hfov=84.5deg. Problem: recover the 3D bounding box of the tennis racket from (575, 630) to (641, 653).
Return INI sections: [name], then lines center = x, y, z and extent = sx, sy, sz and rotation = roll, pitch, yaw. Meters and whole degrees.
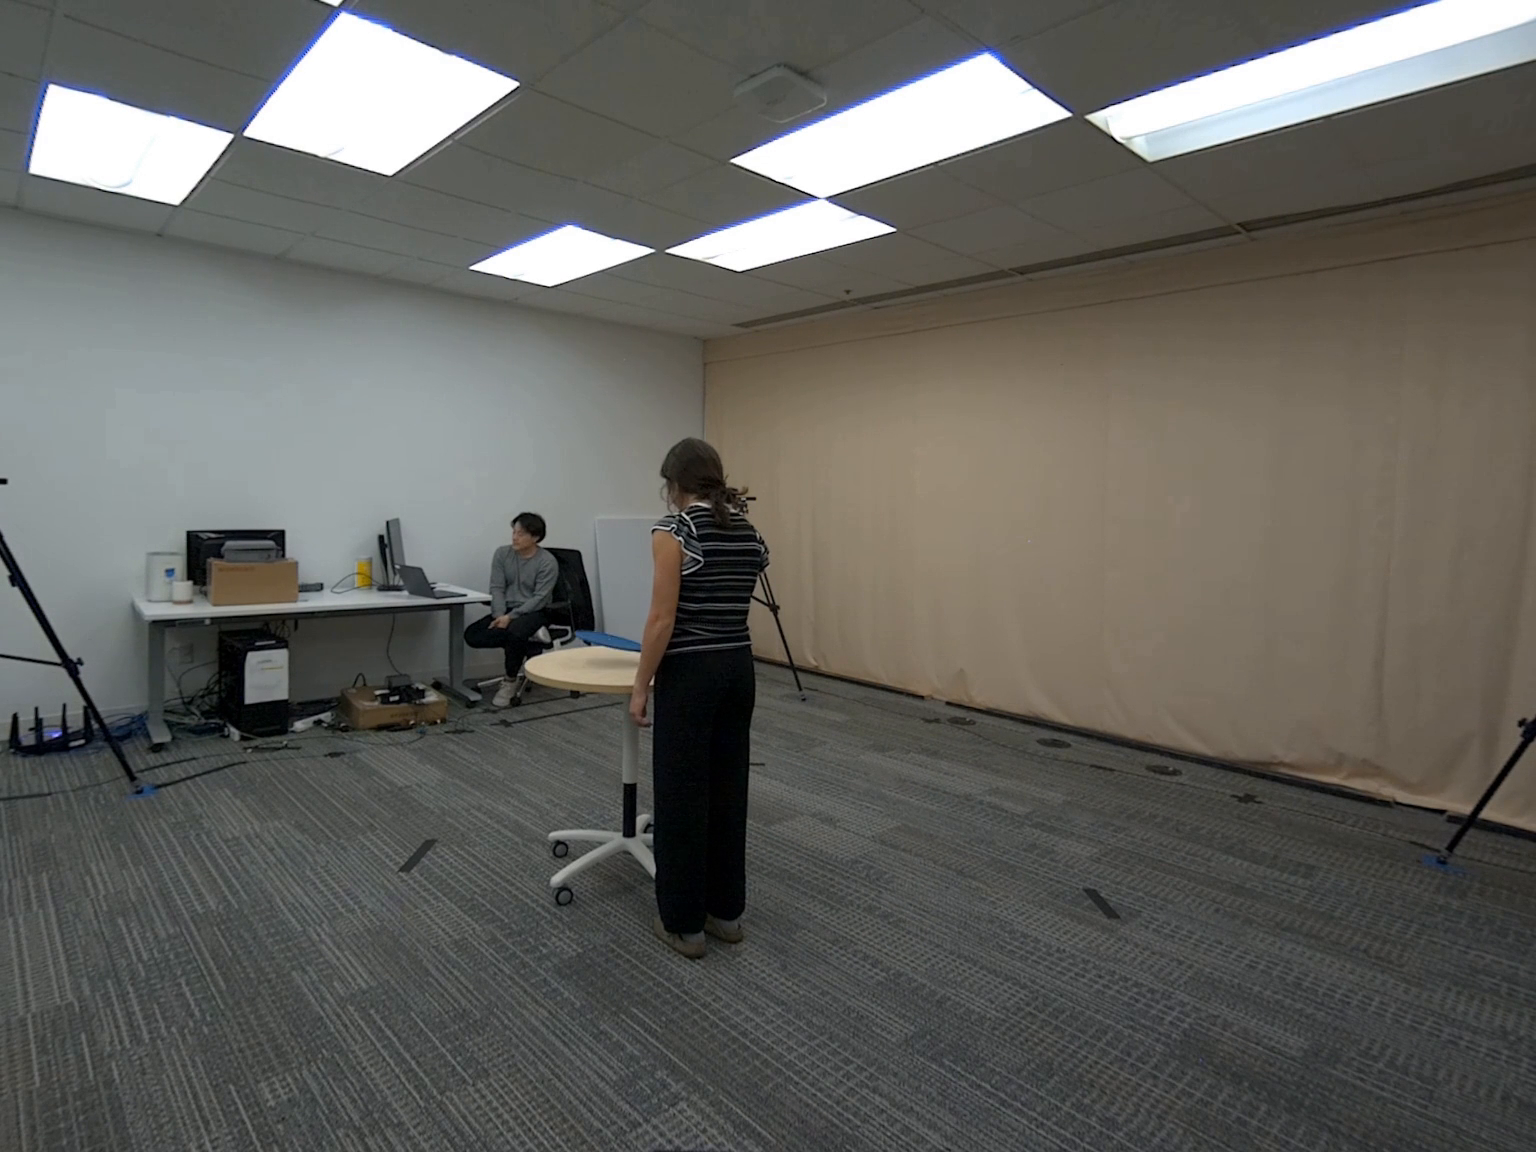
[tennis racket]
center = -0.503, 0.259, 3.052
extent = 0.436, 0.032, 0.213
rotation = 14, 4, 6
